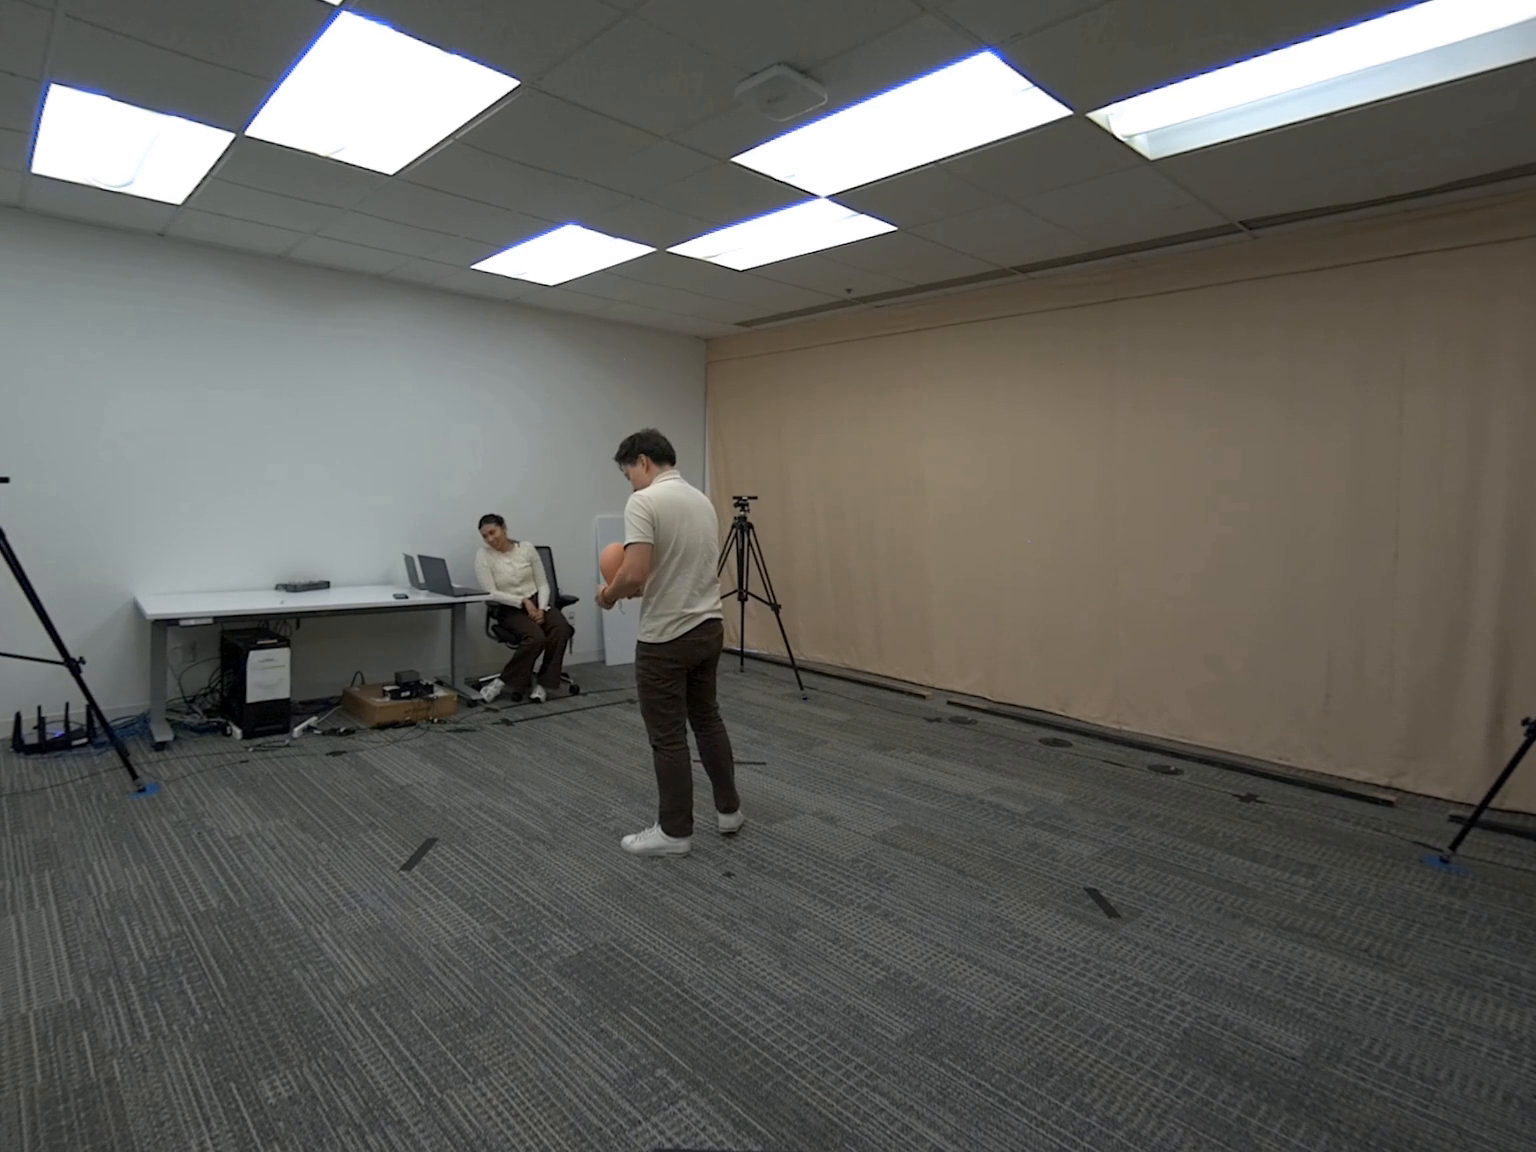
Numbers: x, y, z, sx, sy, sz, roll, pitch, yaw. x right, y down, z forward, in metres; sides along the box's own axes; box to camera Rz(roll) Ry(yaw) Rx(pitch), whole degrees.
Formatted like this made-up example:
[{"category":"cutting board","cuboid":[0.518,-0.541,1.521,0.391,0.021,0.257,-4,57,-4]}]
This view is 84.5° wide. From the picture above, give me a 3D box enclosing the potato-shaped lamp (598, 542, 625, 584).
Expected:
[{"category":"potato-shaped lamp","cuboid":[-0.561,-0.033,3.275,0.168,0.194,0.171,0,31,39]}]
